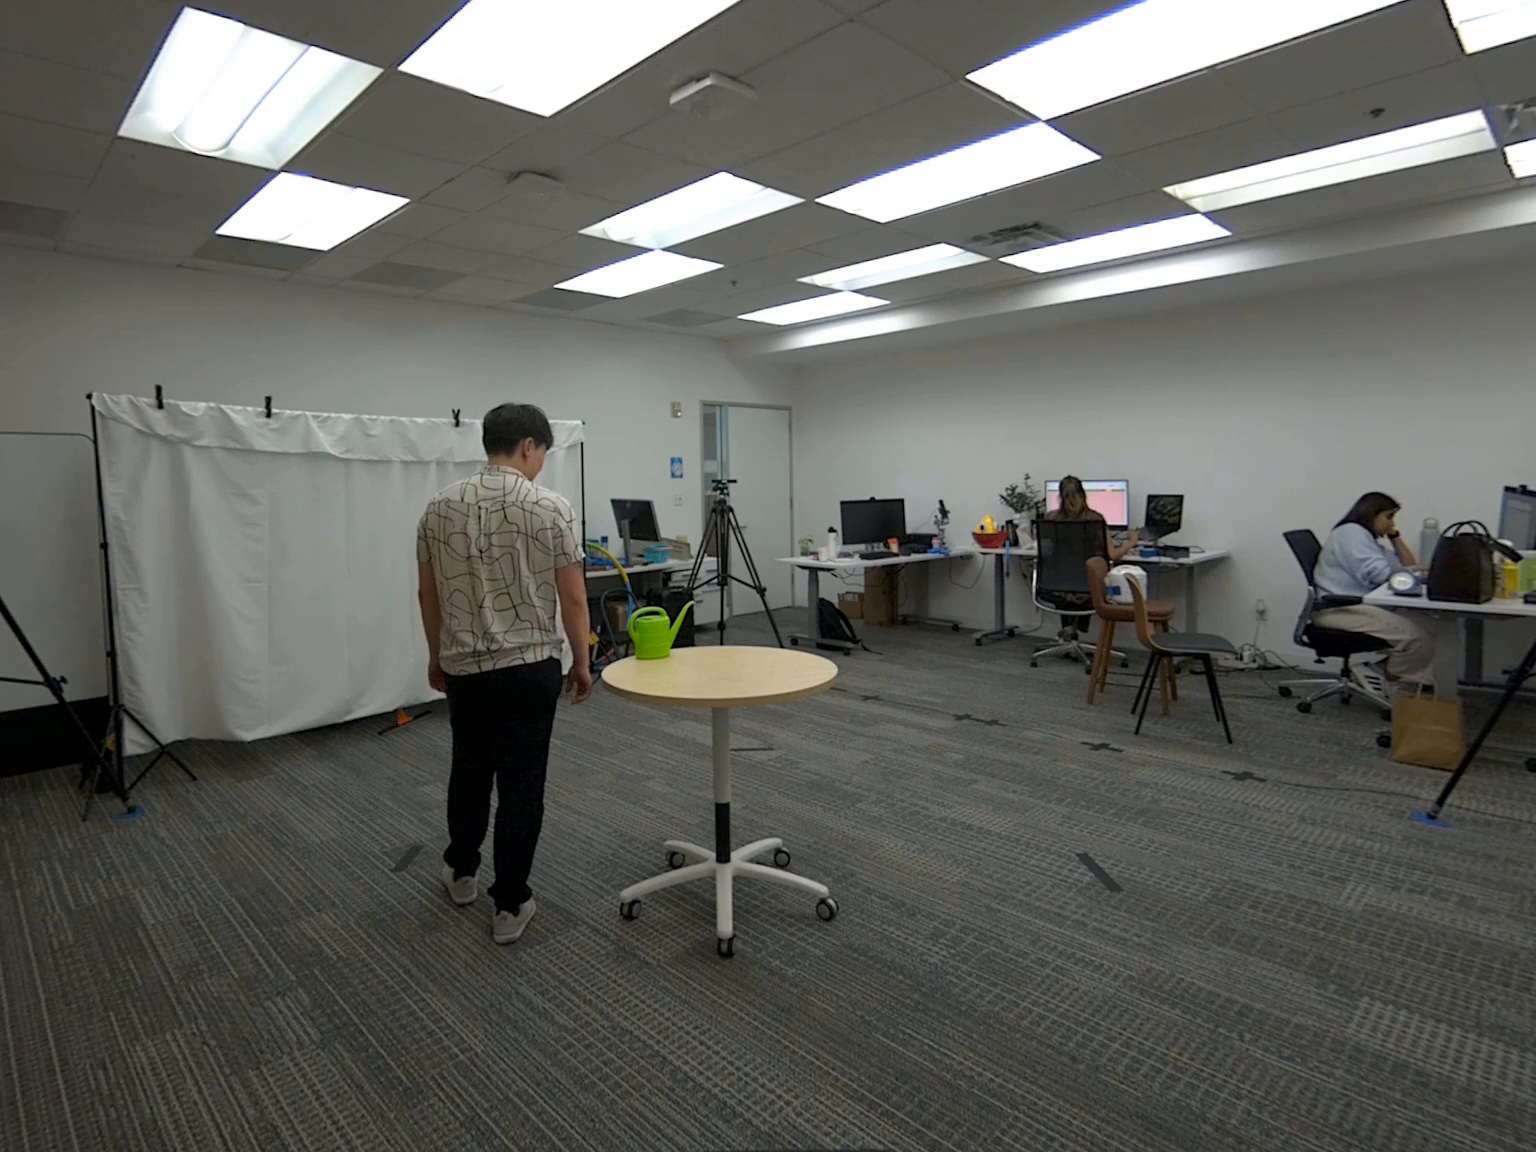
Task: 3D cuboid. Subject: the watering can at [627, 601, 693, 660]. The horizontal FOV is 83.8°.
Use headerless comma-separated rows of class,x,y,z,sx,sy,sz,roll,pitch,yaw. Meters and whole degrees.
watering can,-0.359,0.194,3.012,0.272,0.175,0.101,-5,9,-26
